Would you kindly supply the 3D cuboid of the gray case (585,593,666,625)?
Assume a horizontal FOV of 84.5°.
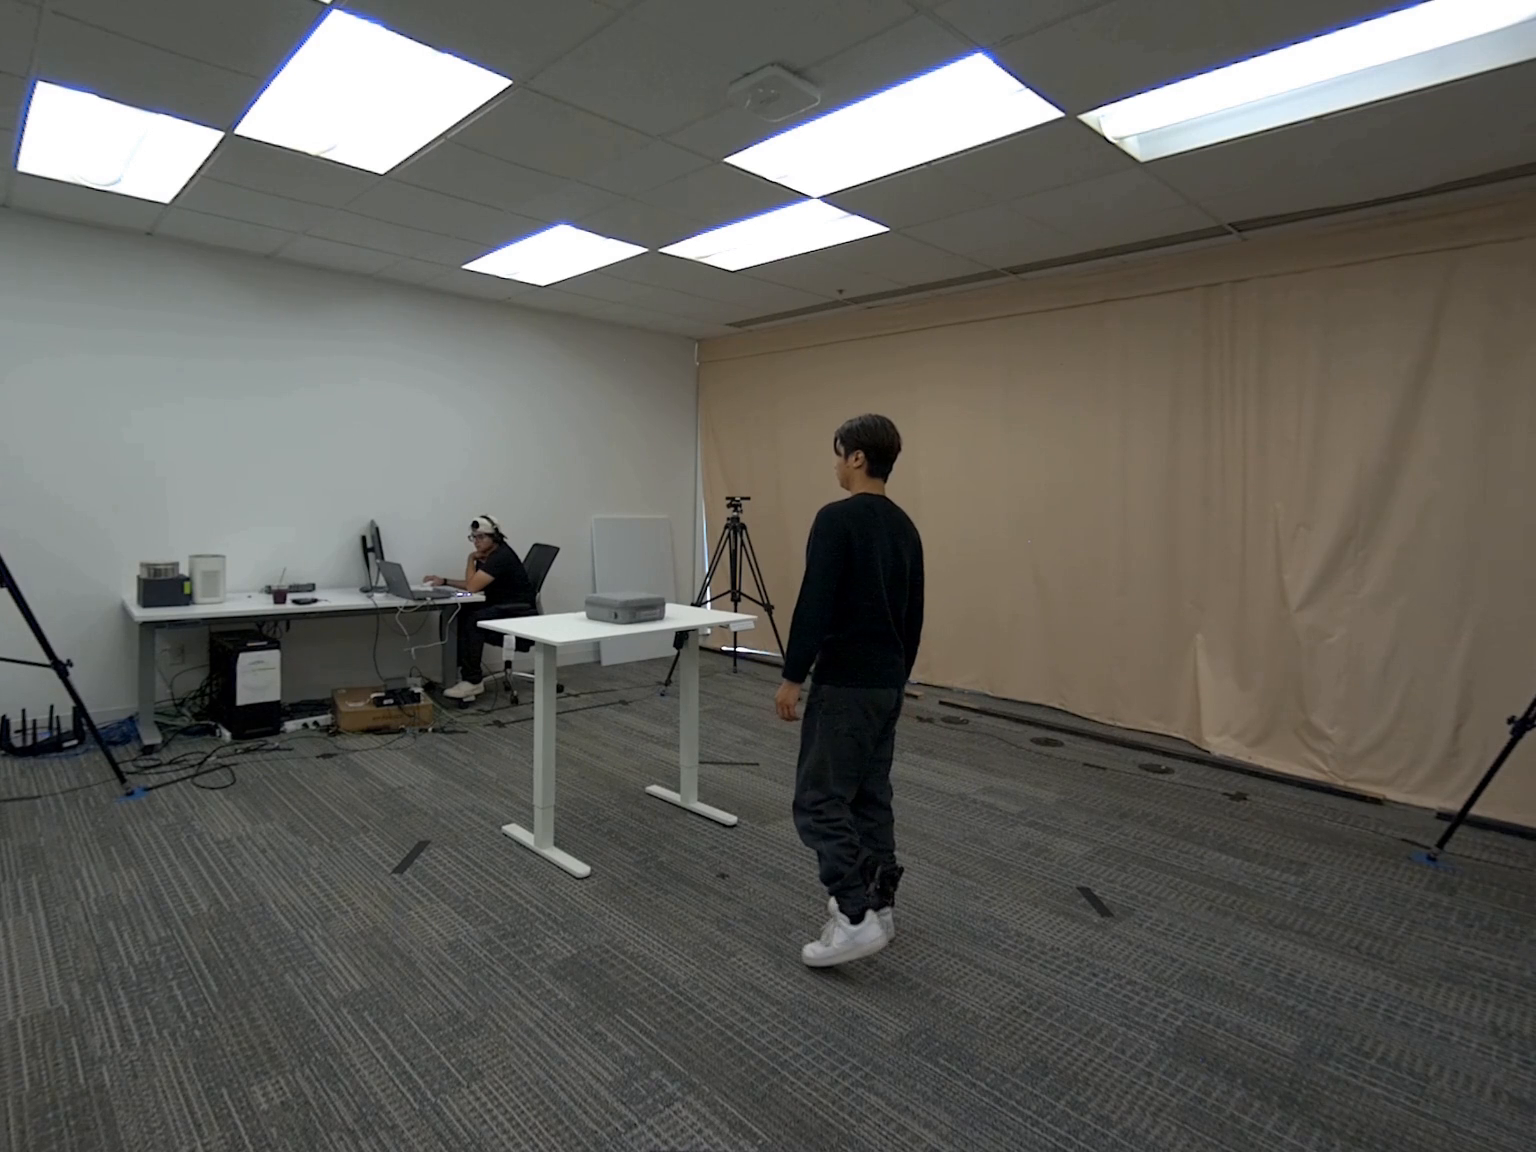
[{"bbox_3d":[-0.595,0.127,3.490,0.267,0.104,0.251,5,6,41],"label":"gray case"}]
